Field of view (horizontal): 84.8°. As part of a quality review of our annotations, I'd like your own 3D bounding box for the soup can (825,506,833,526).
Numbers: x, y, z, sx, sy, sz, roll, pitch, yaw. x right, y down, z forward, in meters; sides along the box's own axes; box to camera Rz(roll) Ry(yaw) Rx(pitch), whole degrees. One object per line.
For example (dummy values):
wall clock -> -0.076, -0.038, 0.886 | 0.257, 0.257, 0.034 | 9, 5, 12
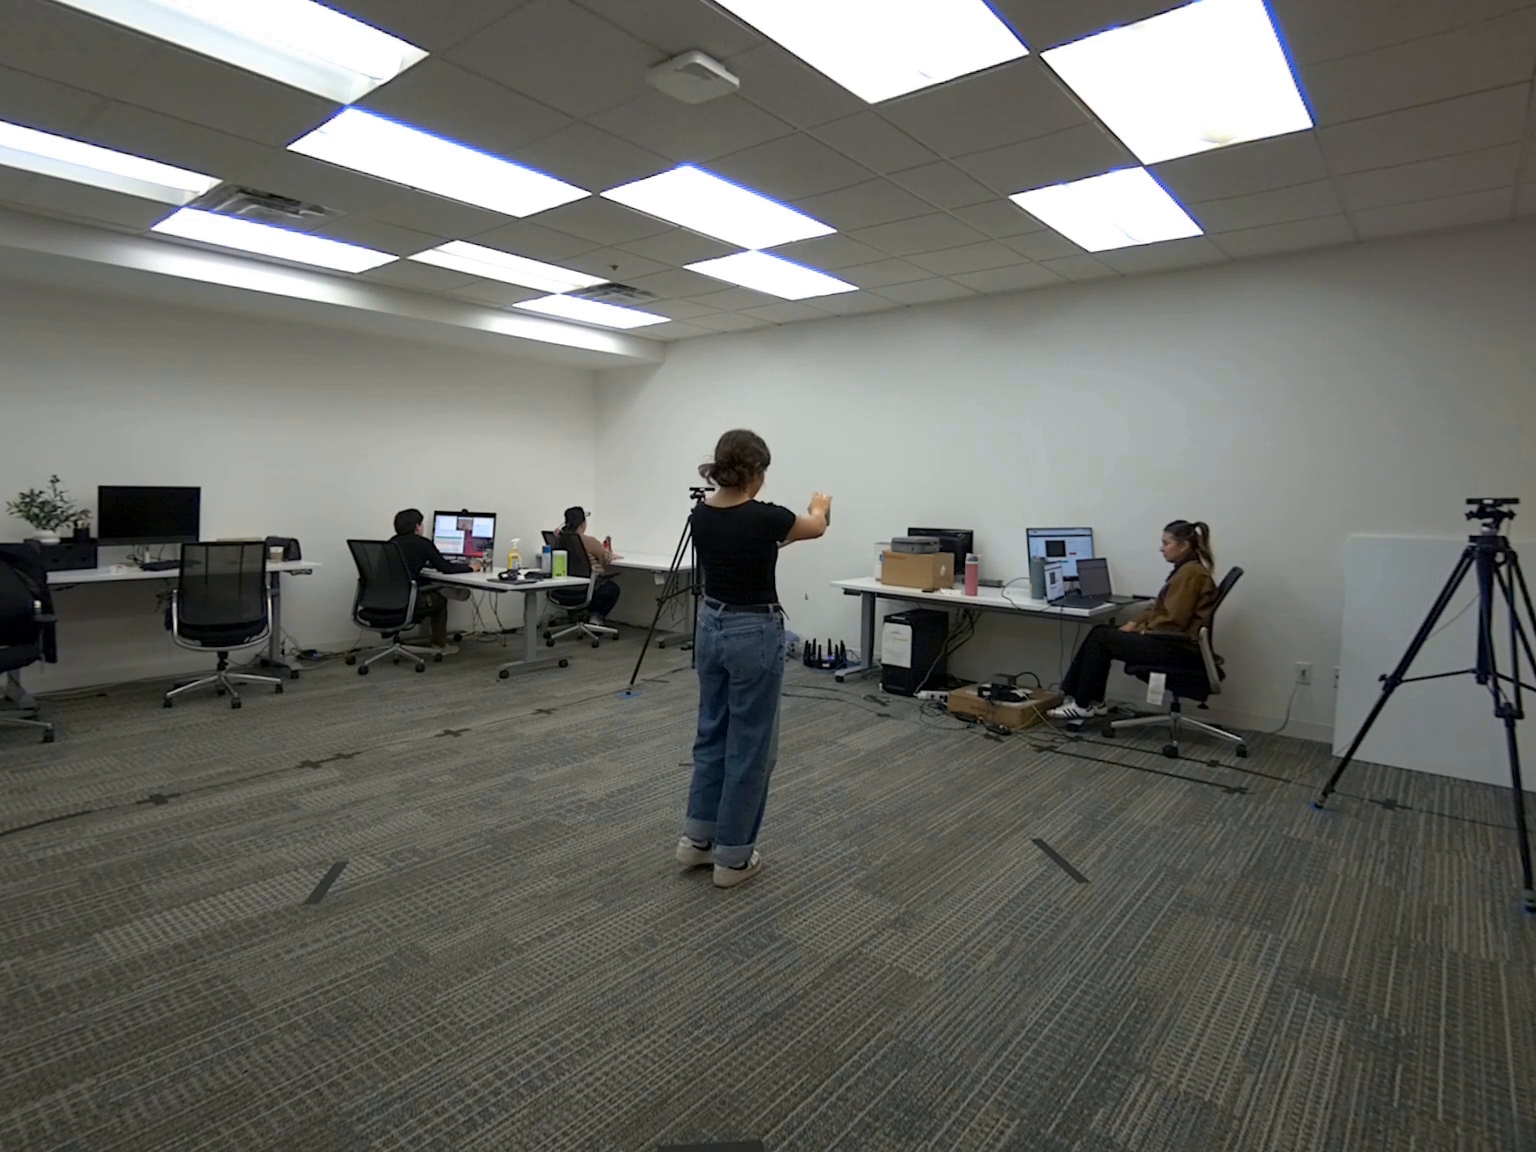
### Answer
soup can -> 0.198, -0.260, 3.438 | 0.067, 0.119, 0.068 | -1, 24, -1
